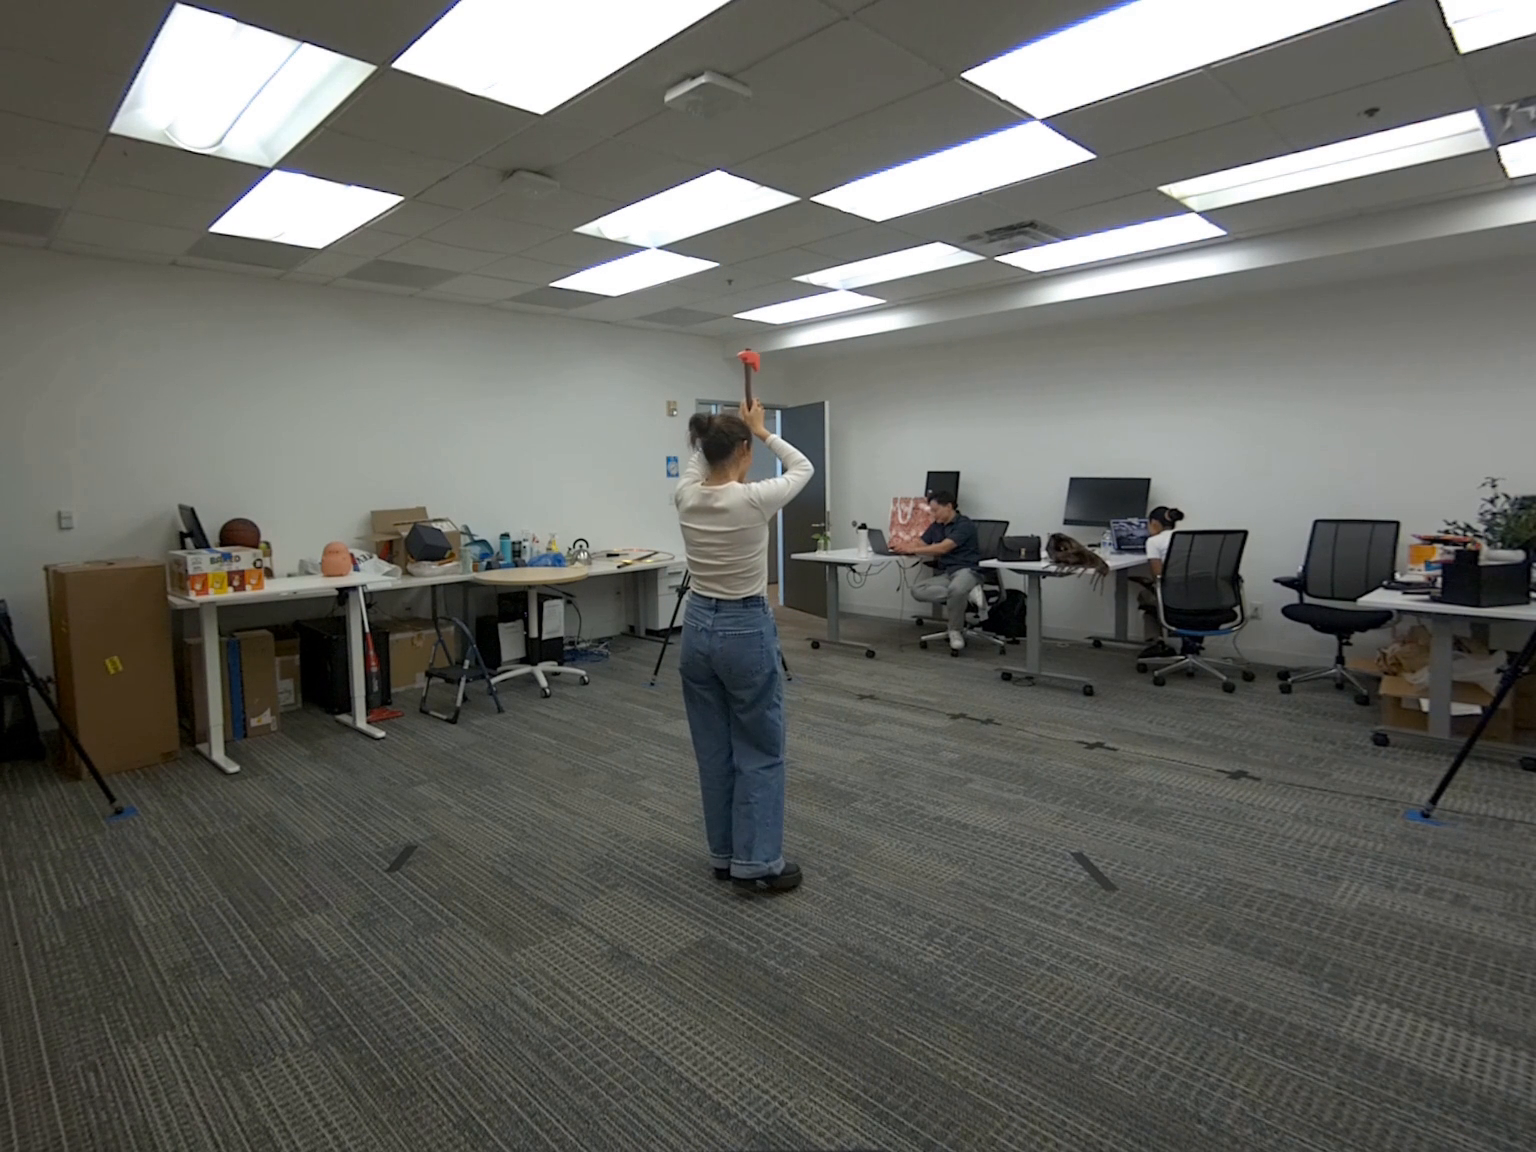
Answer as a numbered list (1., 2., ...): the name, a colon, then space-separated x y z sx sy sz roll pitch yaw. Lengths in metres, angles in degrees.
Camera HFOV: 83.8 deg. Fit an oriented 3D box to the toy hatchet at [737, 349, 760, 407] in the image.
1. toy hatchet: -0.049 -0.697 3.107 0.030 0.264 0.130 5 28 32
